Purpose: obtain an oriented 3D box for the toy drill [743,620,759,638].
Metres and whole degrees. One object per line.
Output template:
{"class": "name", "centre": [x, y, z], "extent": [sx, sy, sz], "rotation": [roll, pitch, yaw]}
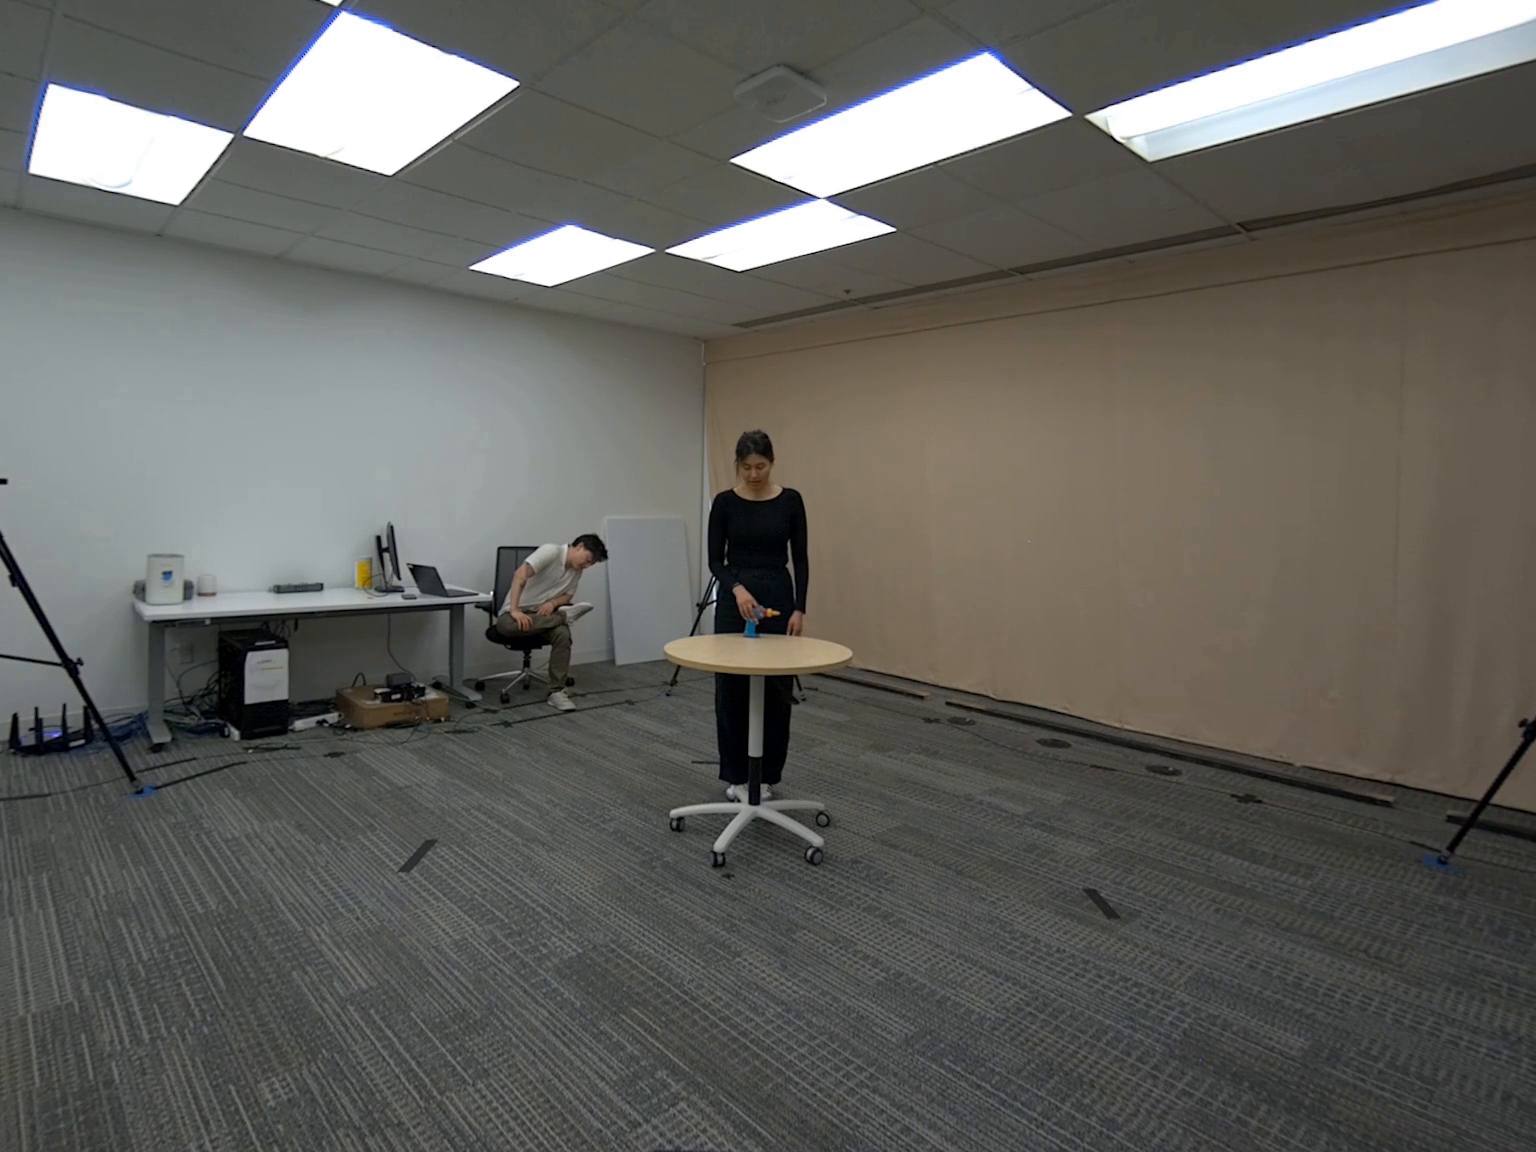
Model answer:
{"class": "toy drill", "centre": [-0.045, 0.203, 3.702], "extent": [0.171, 0.146, 0.061], "rotation": [2, 1, 8]}
